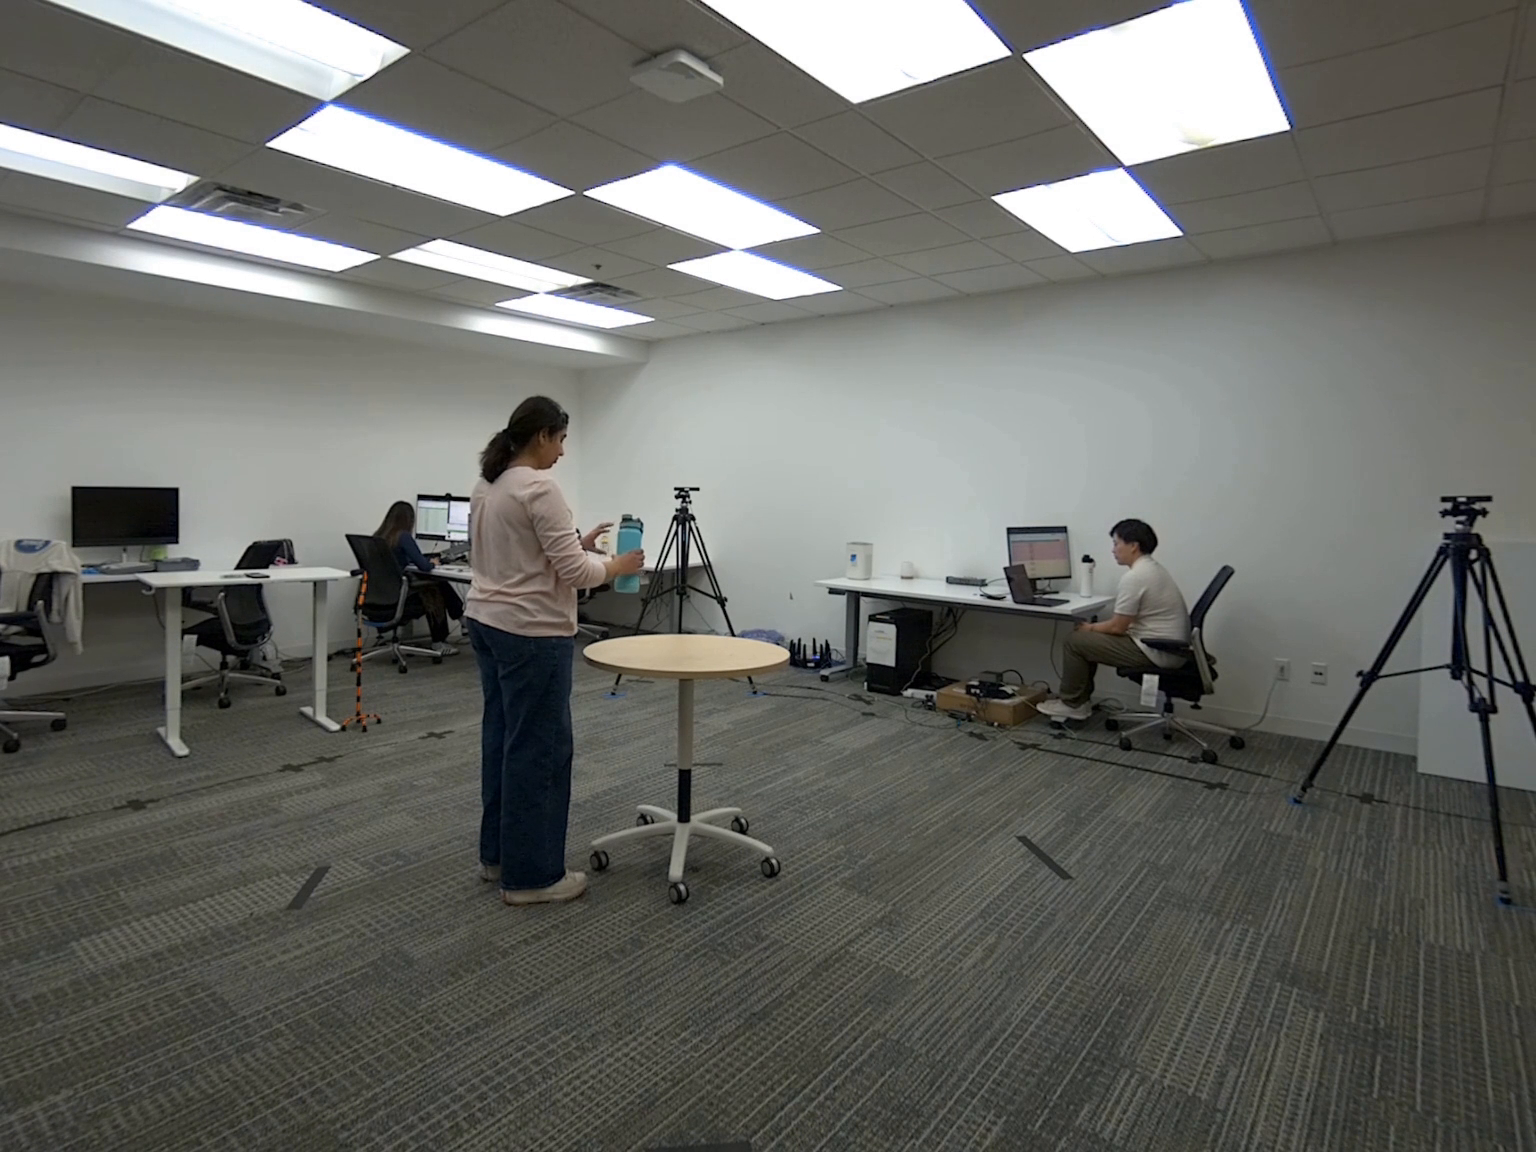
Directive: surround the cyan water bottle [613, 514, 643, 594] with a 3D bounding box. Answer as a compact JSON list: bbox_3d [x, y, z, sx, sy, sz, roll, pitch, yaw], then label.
[{"bbox_3d":[-0.528,-0.085,3.130,0.092,0.286,0.091,3,-10,-1],"label":"cyan water bottle"}]
